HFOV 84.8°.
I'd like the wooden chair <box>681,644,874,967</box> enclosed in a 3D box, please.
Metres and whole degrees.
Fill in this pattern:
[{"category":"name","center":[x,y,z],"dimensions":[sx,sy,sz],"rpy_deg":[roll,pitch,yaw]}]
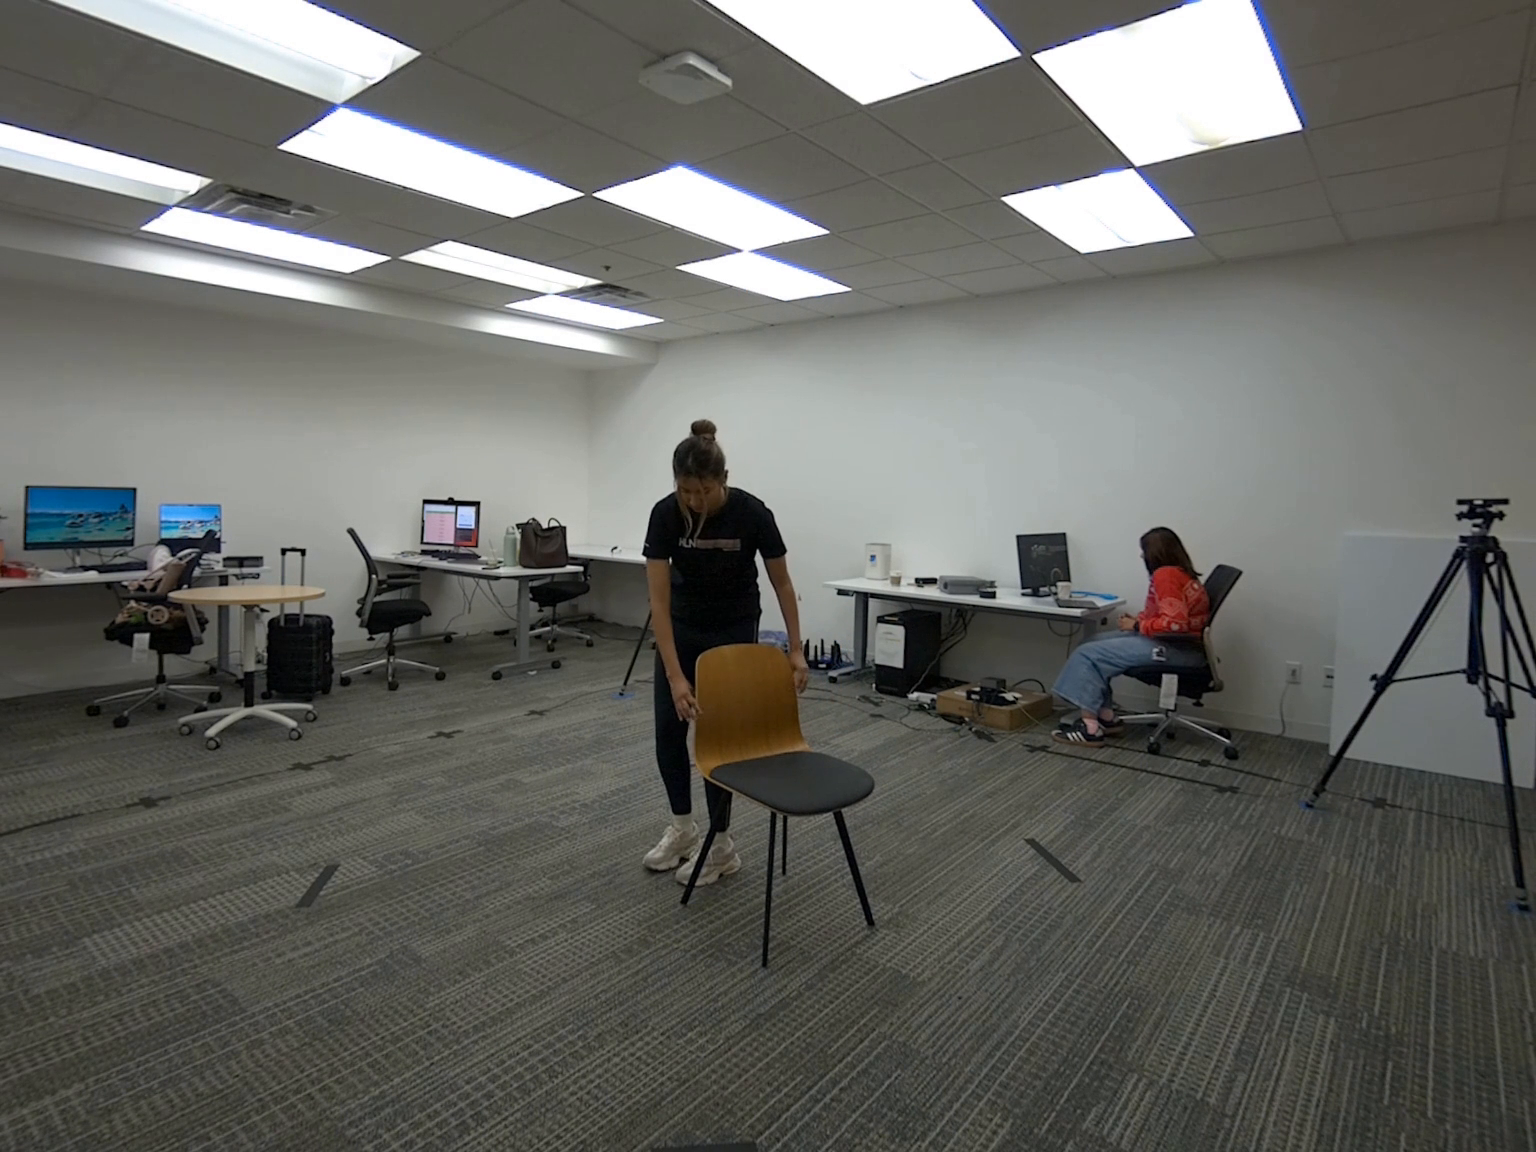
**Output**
[{"category":"wooden chair","center":[0.039,0.682,2.750],"dimensions":[0.464,0.878,0.539],"rpy_deg":[-1,0,-37]}]
